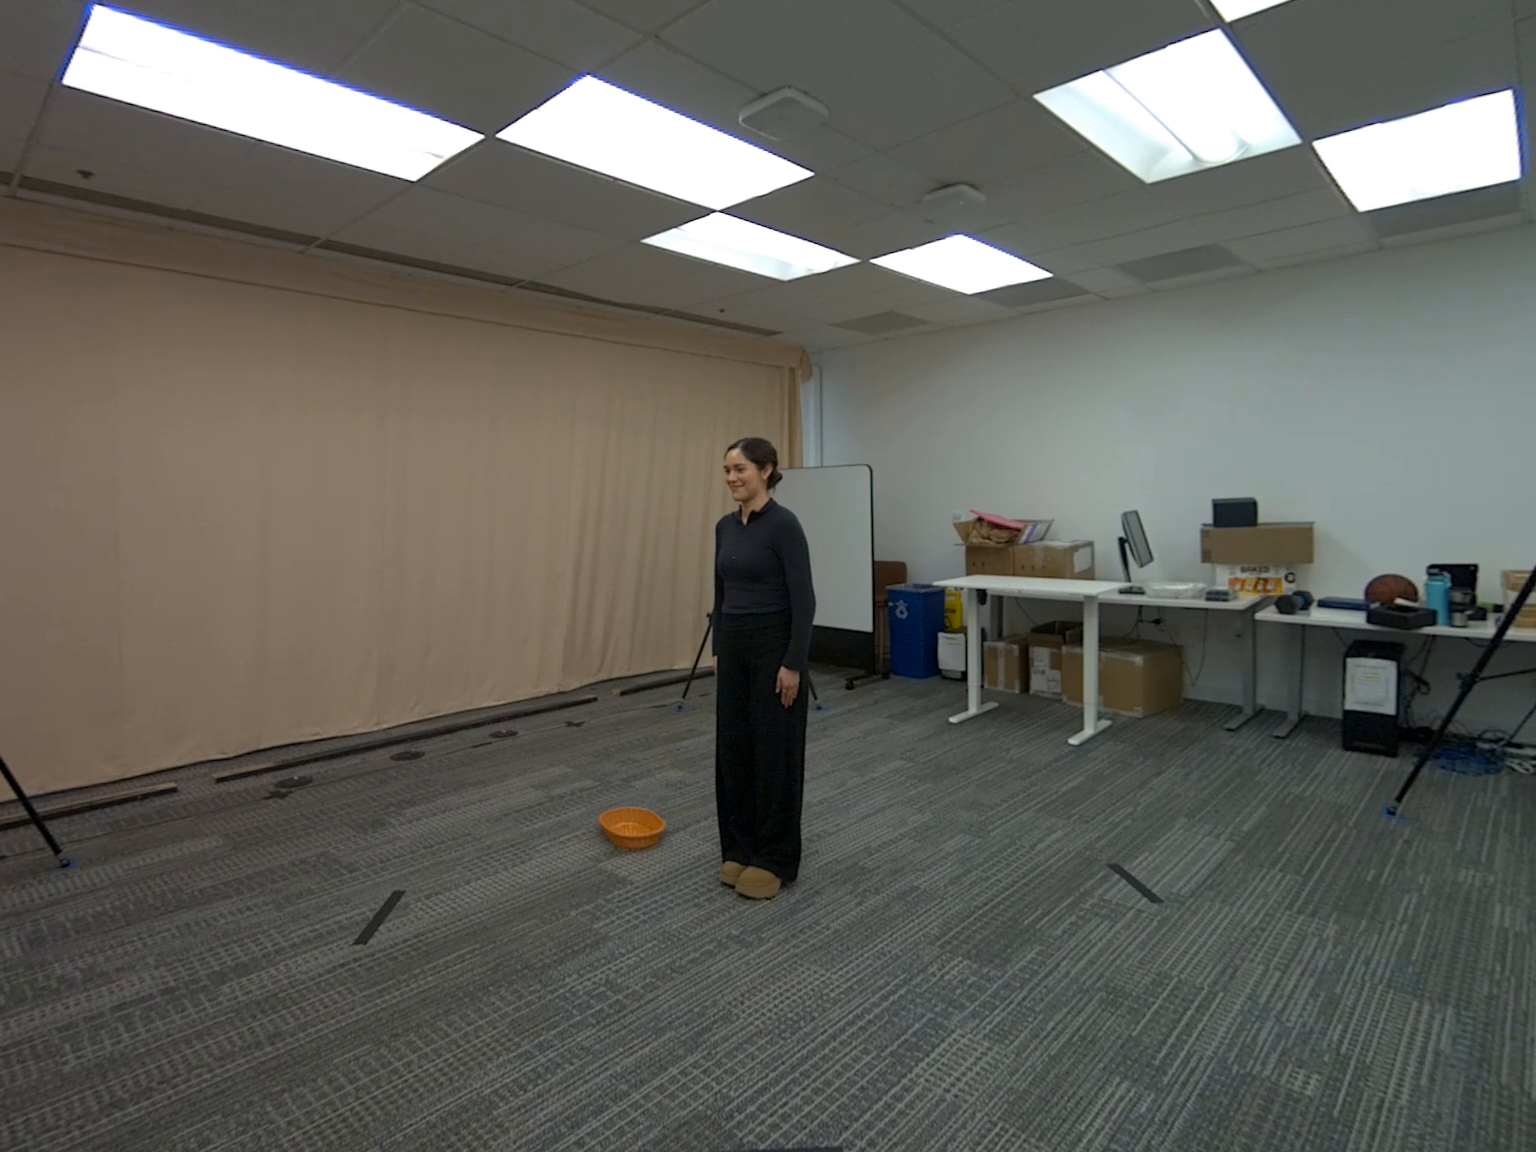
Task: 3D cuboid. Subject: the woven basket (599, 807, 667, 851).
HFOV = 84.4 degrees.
[{"bbox_3d":[-0.577,1.061,3.551,0.246,0.073,0.359,-3,5,-25],"label":"woven basket"}]
